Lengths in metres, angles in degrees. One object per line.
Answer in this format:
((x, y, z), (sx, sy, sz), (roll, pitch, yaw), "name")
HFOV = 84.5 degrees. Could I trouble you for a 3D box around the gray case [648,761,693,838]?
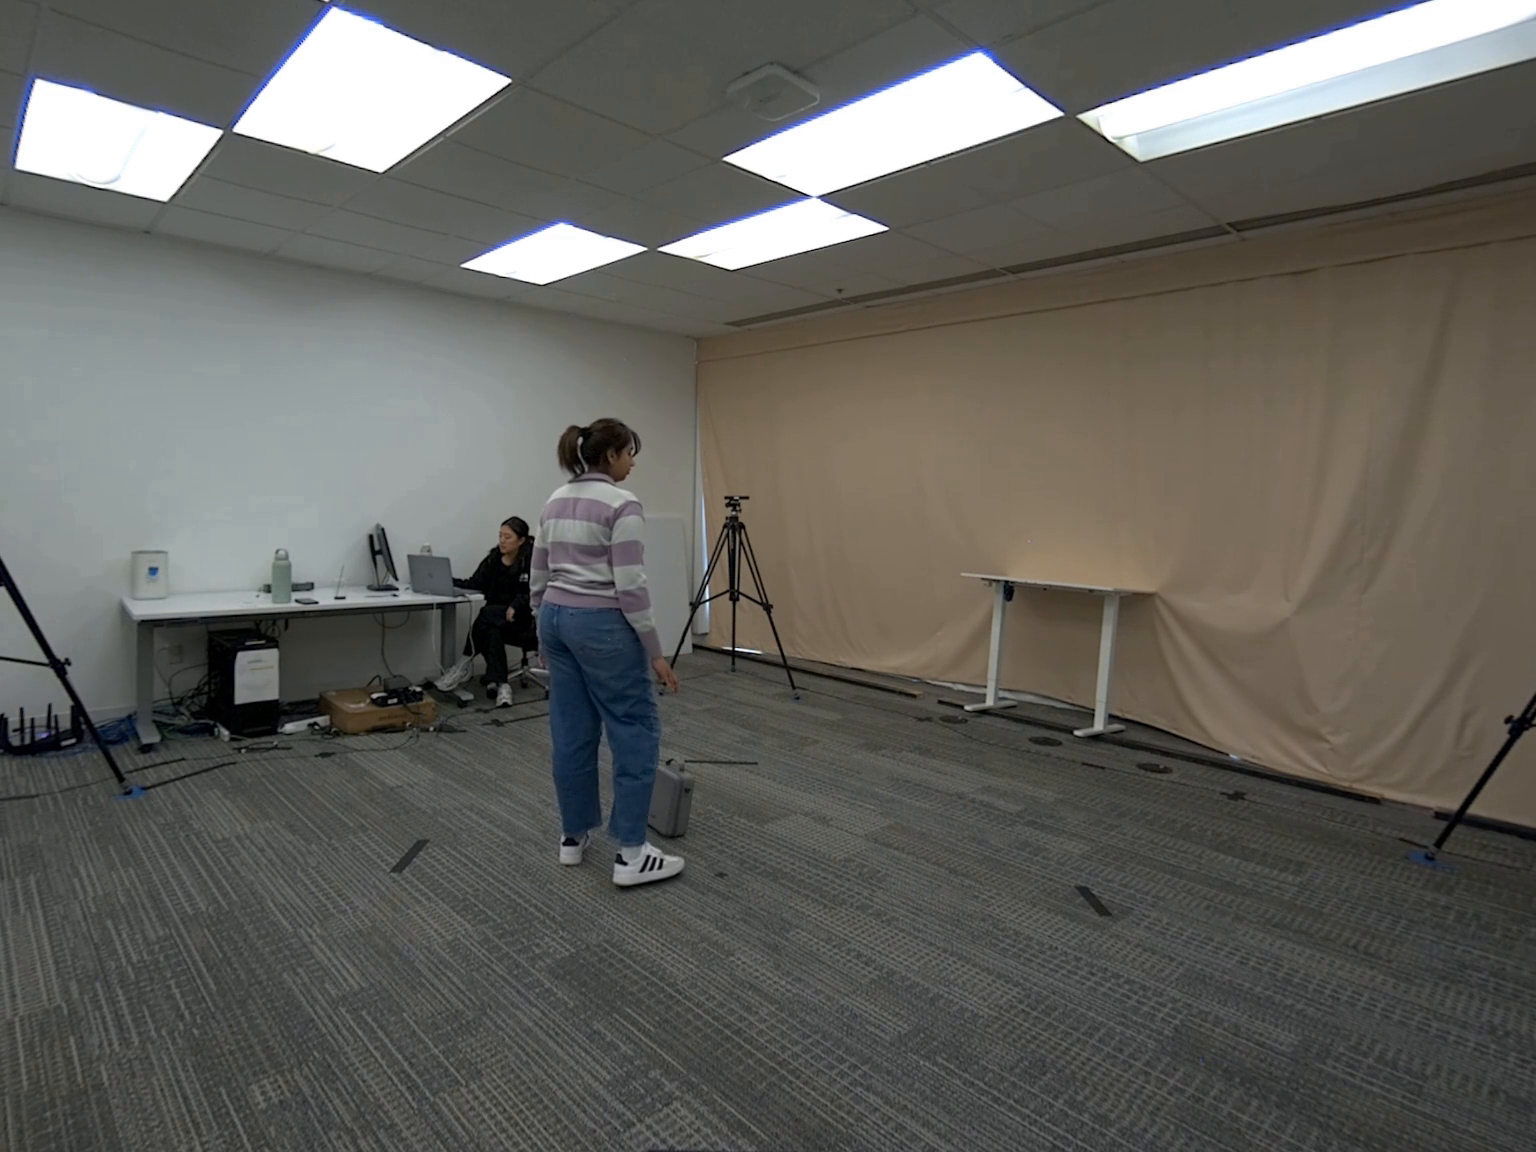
((-0.431, 0.929, 3.534), (0.102, 0.261, 0.263), (10, -2, -33), "gray case")
